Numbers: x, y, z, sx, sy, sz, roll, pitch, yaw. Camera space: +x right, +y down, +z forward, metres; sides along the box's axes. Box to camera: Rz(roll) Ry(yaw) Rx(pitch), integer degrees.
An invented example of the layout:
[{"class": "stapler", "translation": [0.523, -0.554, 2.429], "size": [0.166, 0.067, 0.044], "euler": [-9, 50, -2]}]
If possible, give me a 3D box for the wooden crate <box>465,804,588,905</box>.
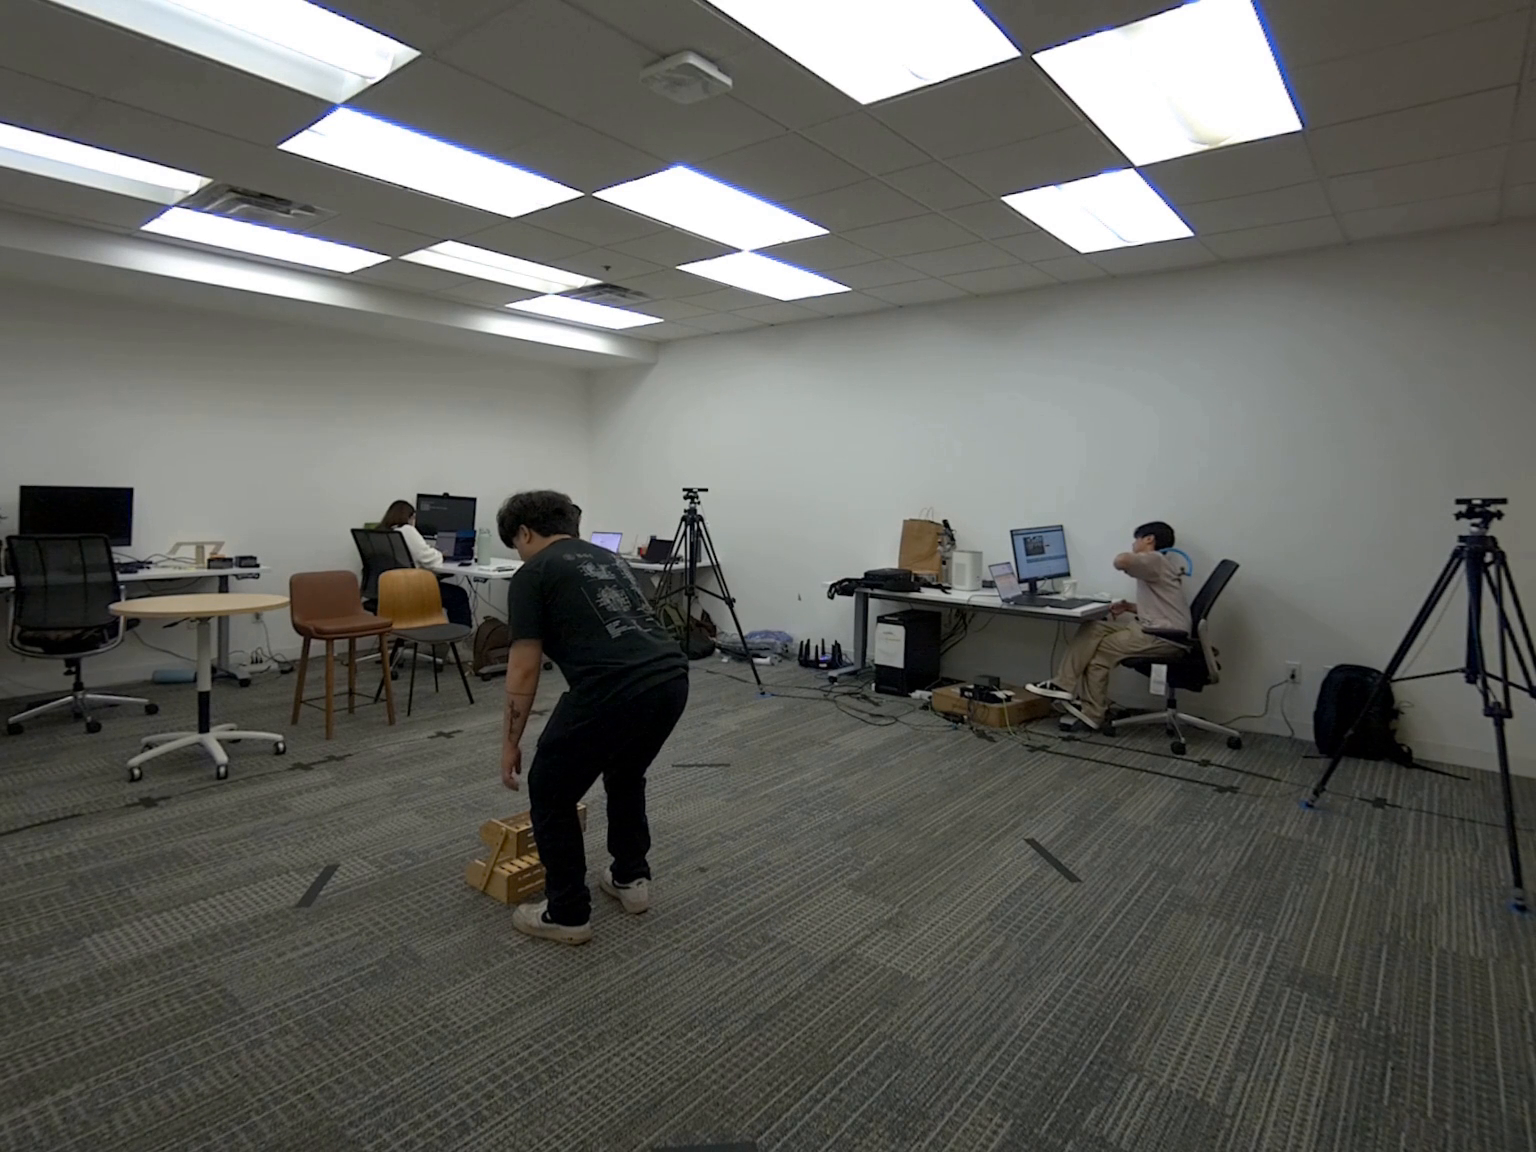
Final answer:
[{"class": "wooden crate", "translation": [-0.870, 0.934, 2.993], "size": [0.312, 0.272, 0.315], "euler": [5, 7, 38]}]
